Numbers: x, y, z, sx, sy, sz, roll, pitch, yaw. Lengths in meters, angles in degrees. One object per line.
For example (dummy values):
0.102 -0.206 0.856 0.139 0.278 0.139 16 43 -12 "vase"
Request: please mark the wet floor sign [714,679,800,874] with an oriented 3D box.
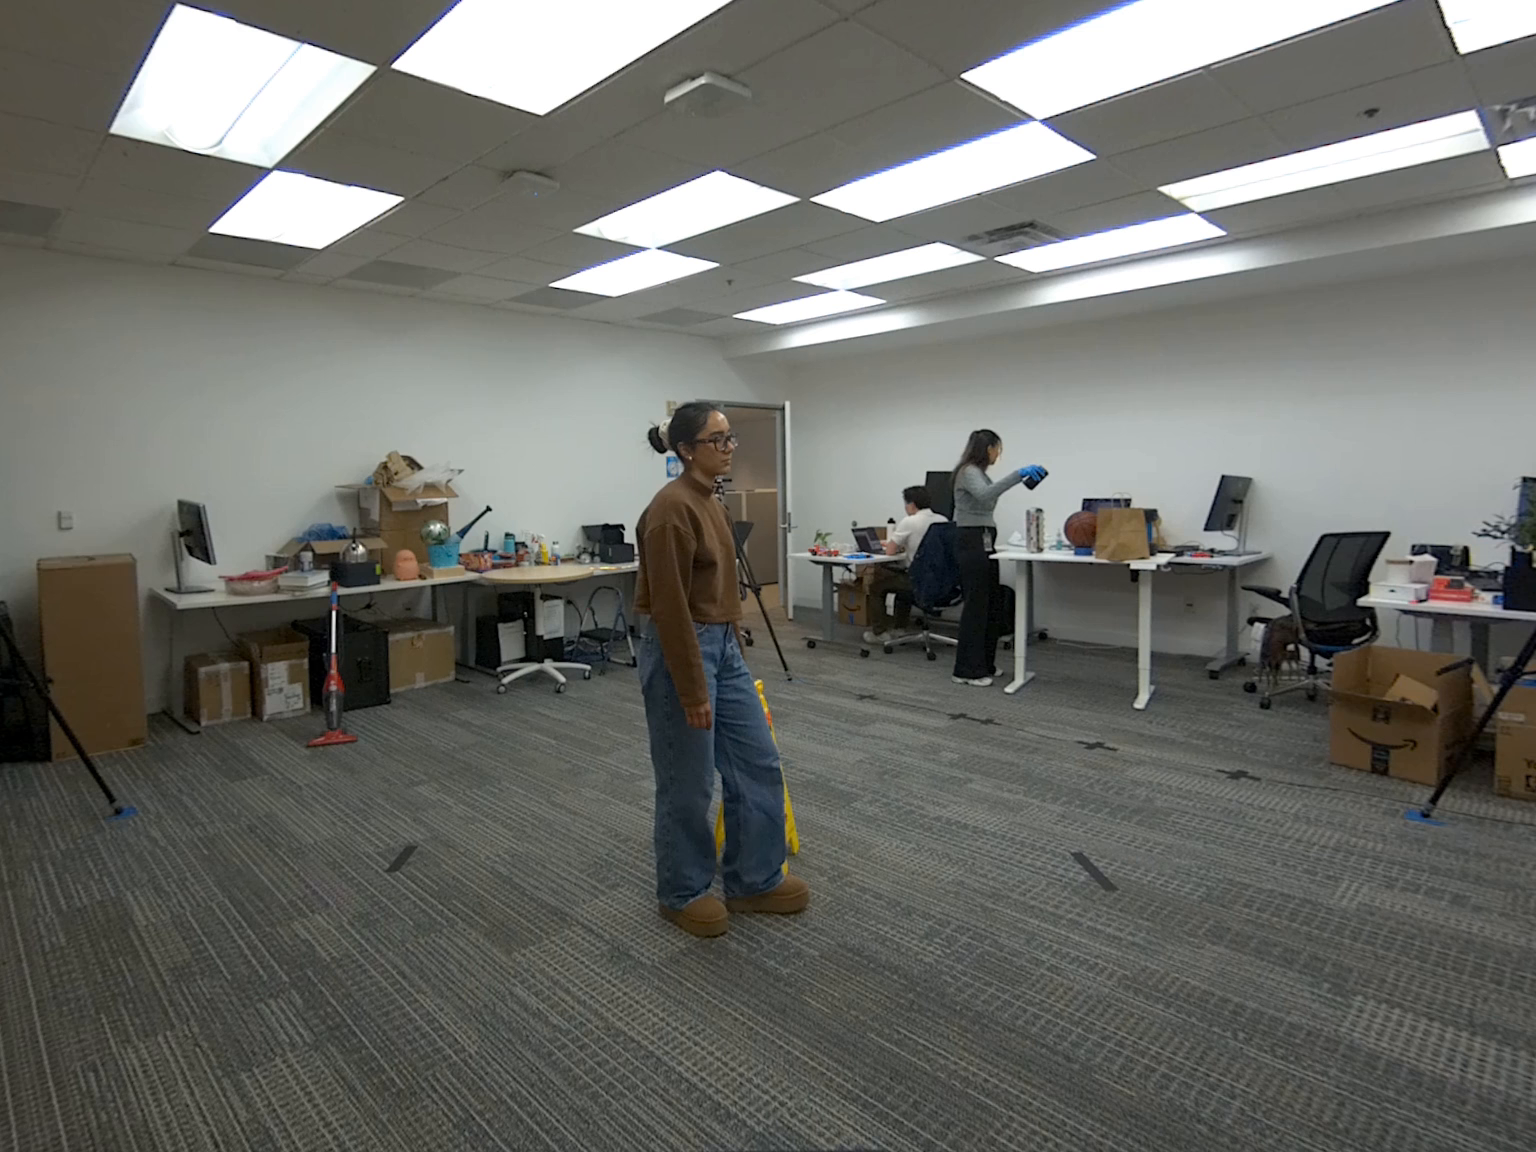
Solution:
-0.048 0.719 3.124 0.294 0.644 0.279 -1 3 16 "wet floor sign"
